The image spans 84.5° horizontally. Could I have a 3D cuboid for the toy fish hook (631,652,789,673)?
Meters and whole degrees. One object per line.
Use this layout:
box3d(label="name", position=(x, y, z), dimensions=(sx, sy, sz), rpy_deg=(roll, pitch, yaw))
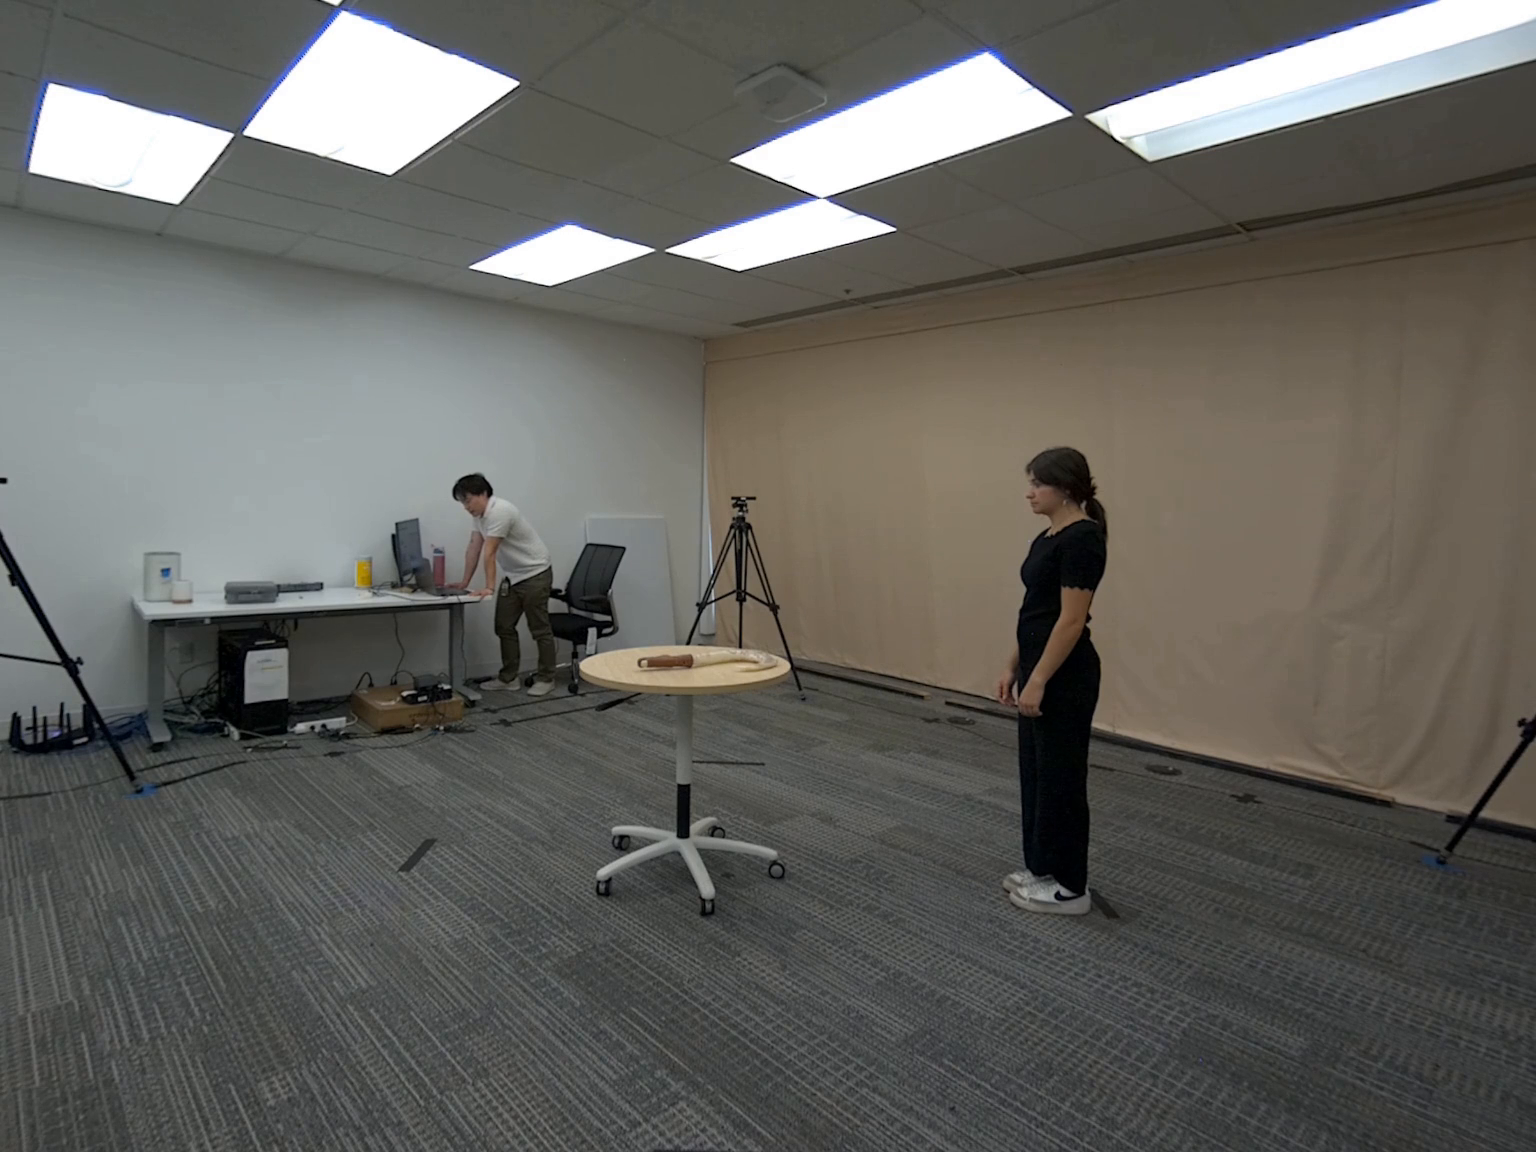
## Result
box3d(label="toy fish hook", position=(-0.206, 0.301, 2.977), dimensions=(0.498, 0.048, 0.227), rpy_deg=(0, -5, -24))
